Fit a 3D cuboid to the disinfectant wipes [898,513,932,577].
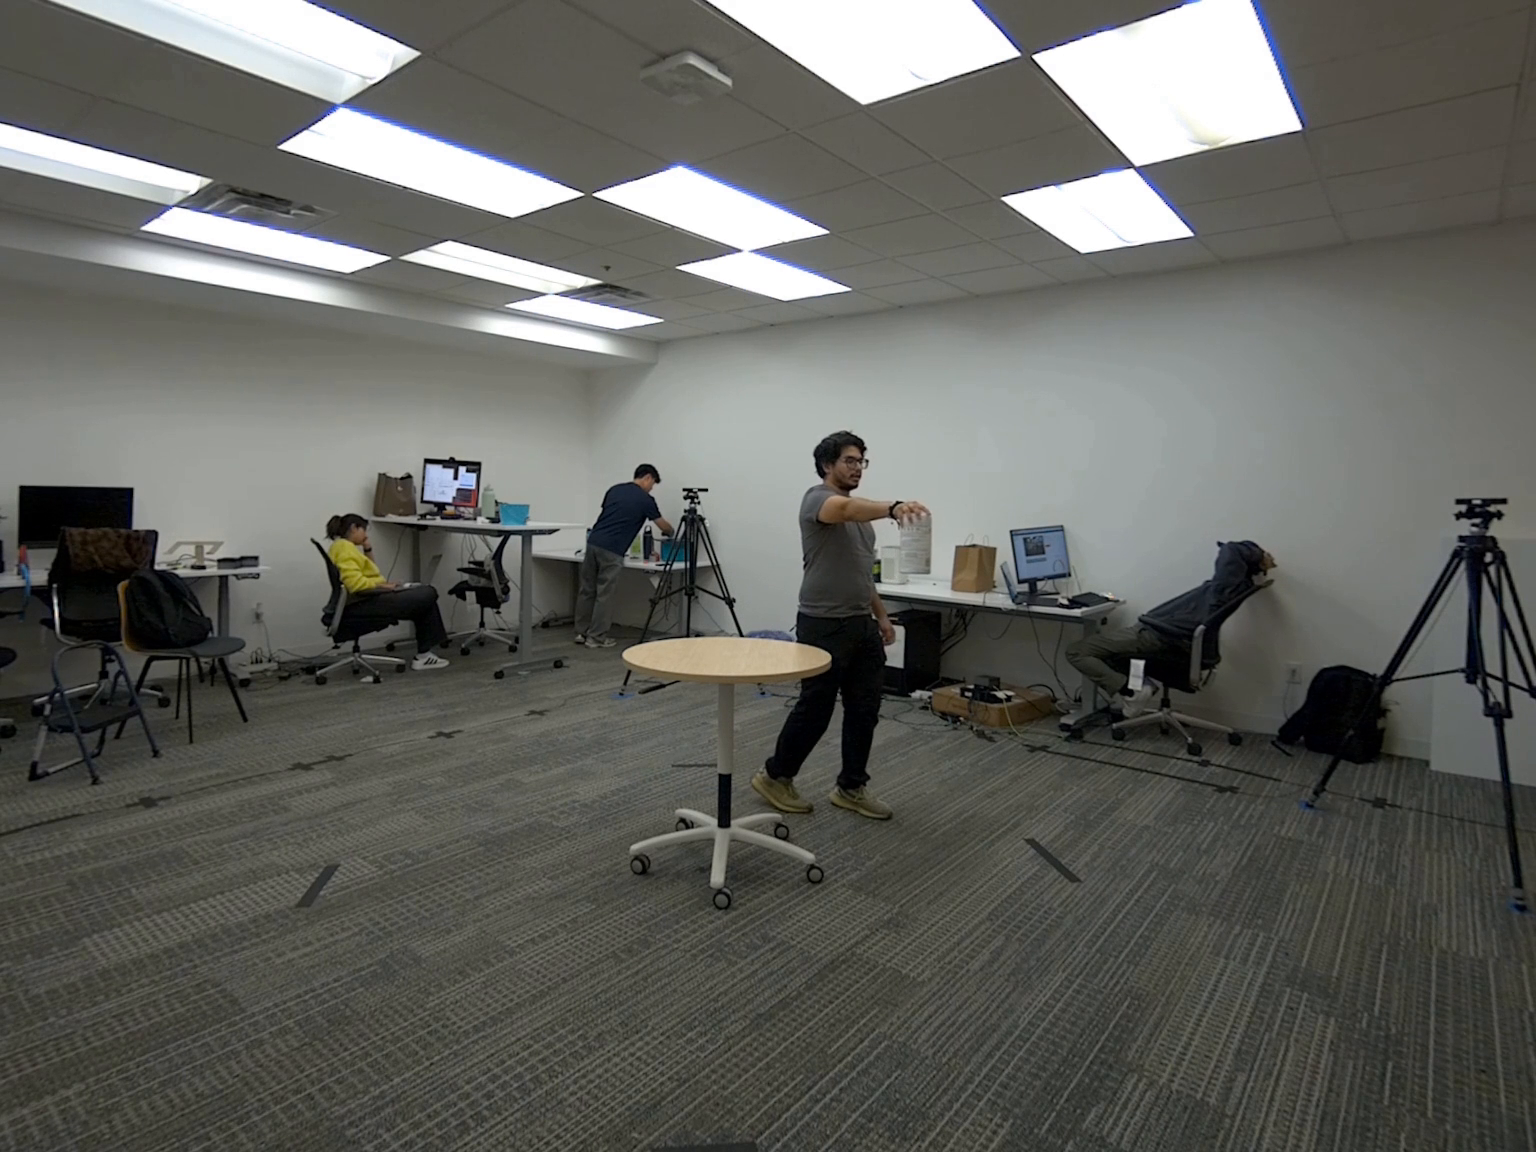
[{"bbox_3d":[0.521,-0.116,3.057,0.118,0.217,0.118,4,0,-2],"label":"disinfectant wipes"}]
